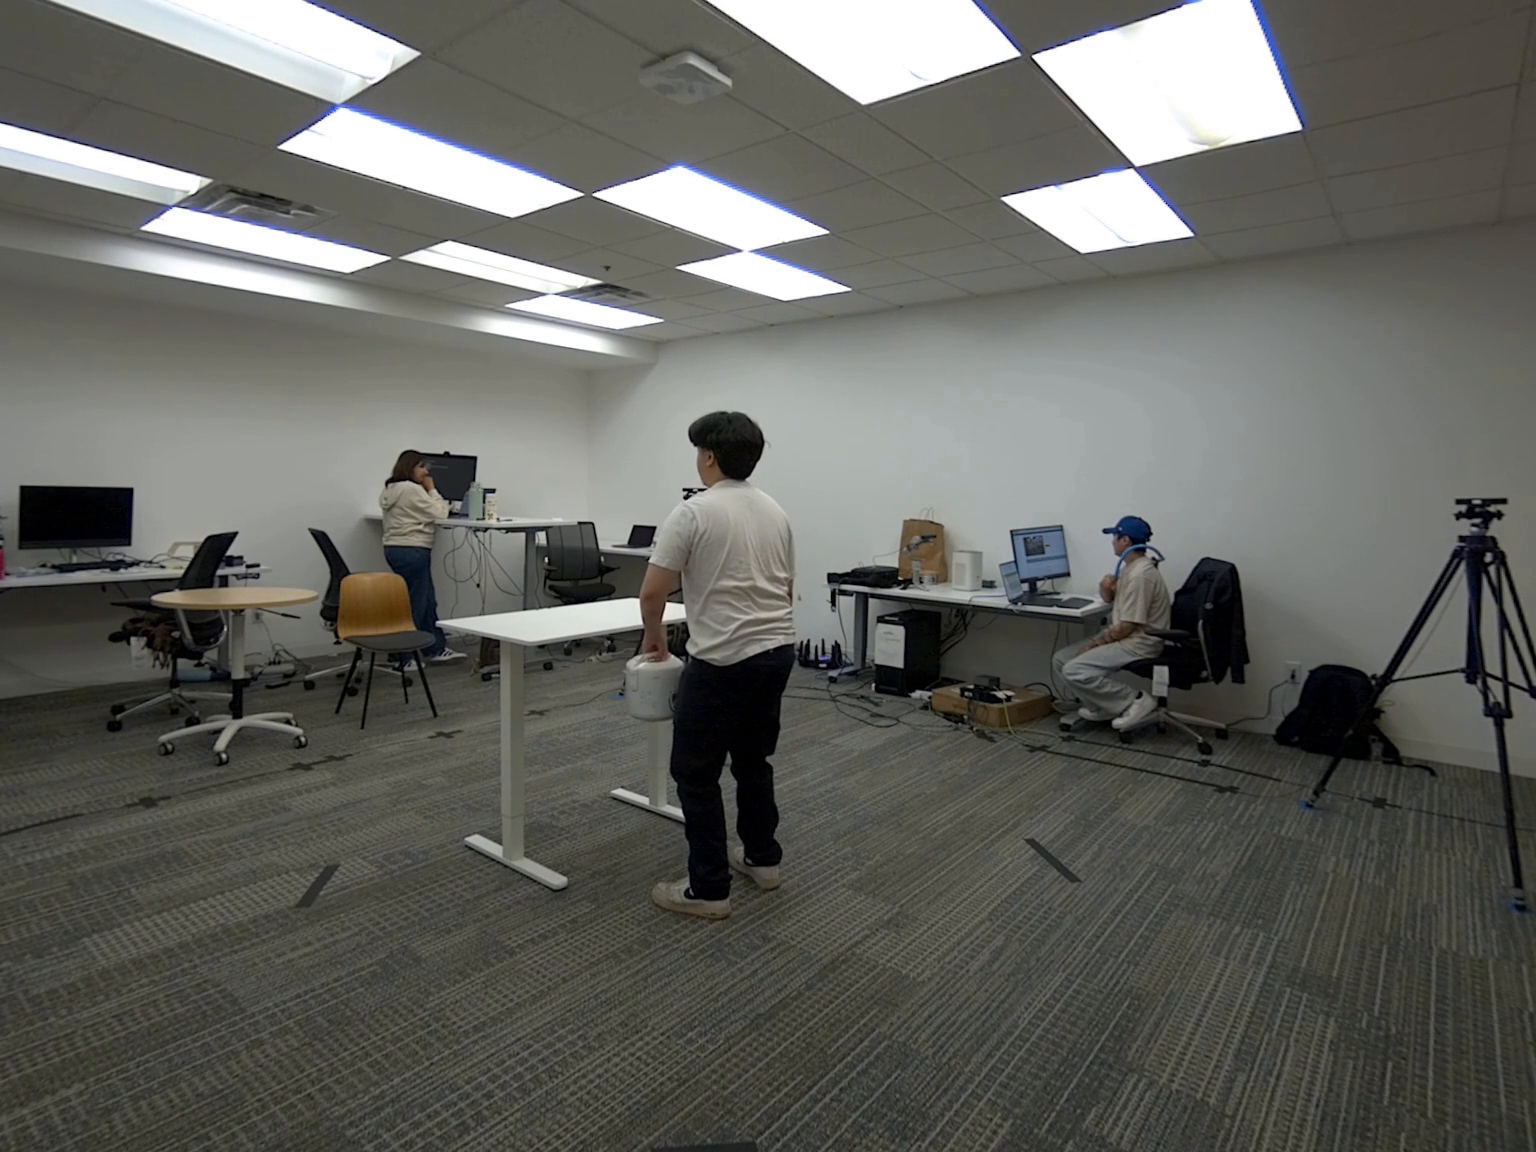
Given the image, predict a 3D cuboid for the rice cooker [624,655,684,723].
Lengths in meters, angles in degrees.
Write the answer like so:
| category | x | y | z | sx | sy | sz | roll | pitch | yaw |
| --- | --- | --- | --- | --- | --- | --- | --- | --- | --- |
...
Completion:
| category | x | y | z | sx | sy | sz | roll | pitch | yaw |
| --- | --- | --- | --- | --- | --- | --- | --- | --- | --- |
| rice cooker | -0.410 | 0.381 | 3.010 | 0.225 | 0.232 | 0.214 | 4 | 7 | 41 |
